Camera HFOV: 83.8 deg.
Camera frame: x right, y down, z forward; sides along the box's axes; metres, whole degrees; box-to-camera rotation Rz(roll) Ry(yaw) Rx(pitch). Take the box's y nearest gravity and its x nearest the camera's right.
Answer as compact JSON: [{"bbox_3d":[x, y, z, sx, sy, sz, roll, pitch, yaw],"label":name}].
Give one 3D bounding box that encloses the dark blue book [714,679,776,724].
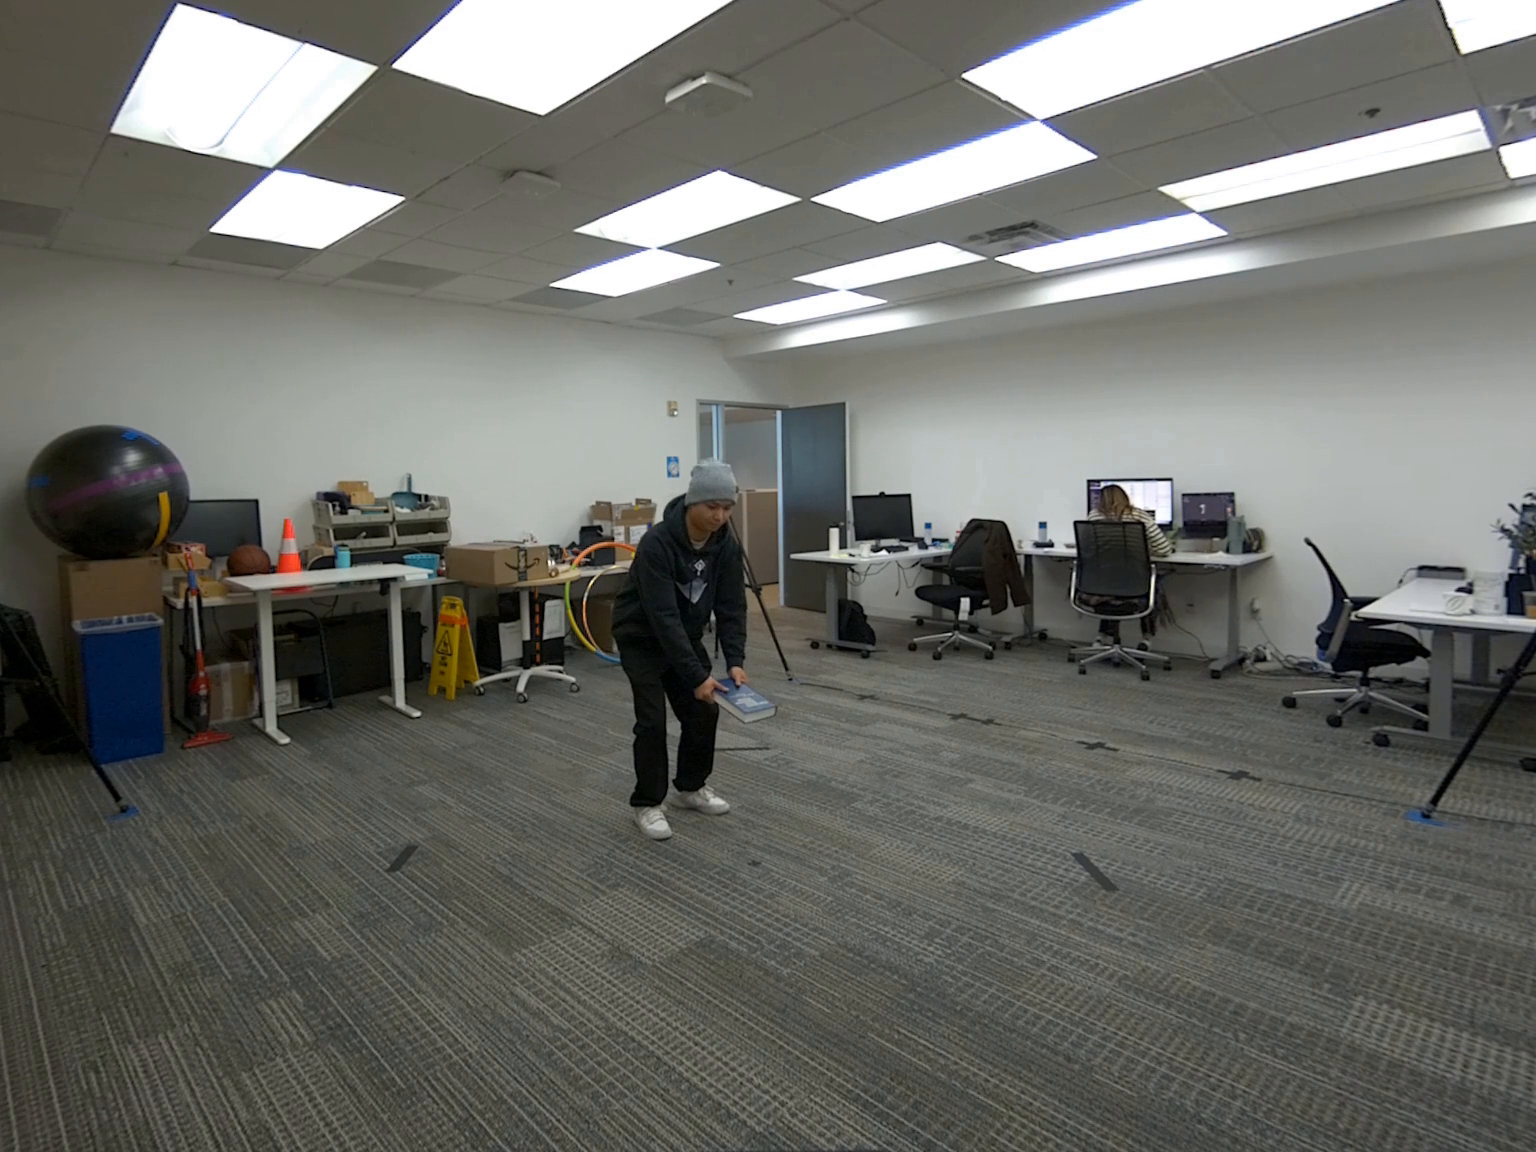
[{"bbox_3d":[-0.113,0.467,3.190,0.159,0.044,0.254,-6,23,-43],"label":"dark blue book"}]
